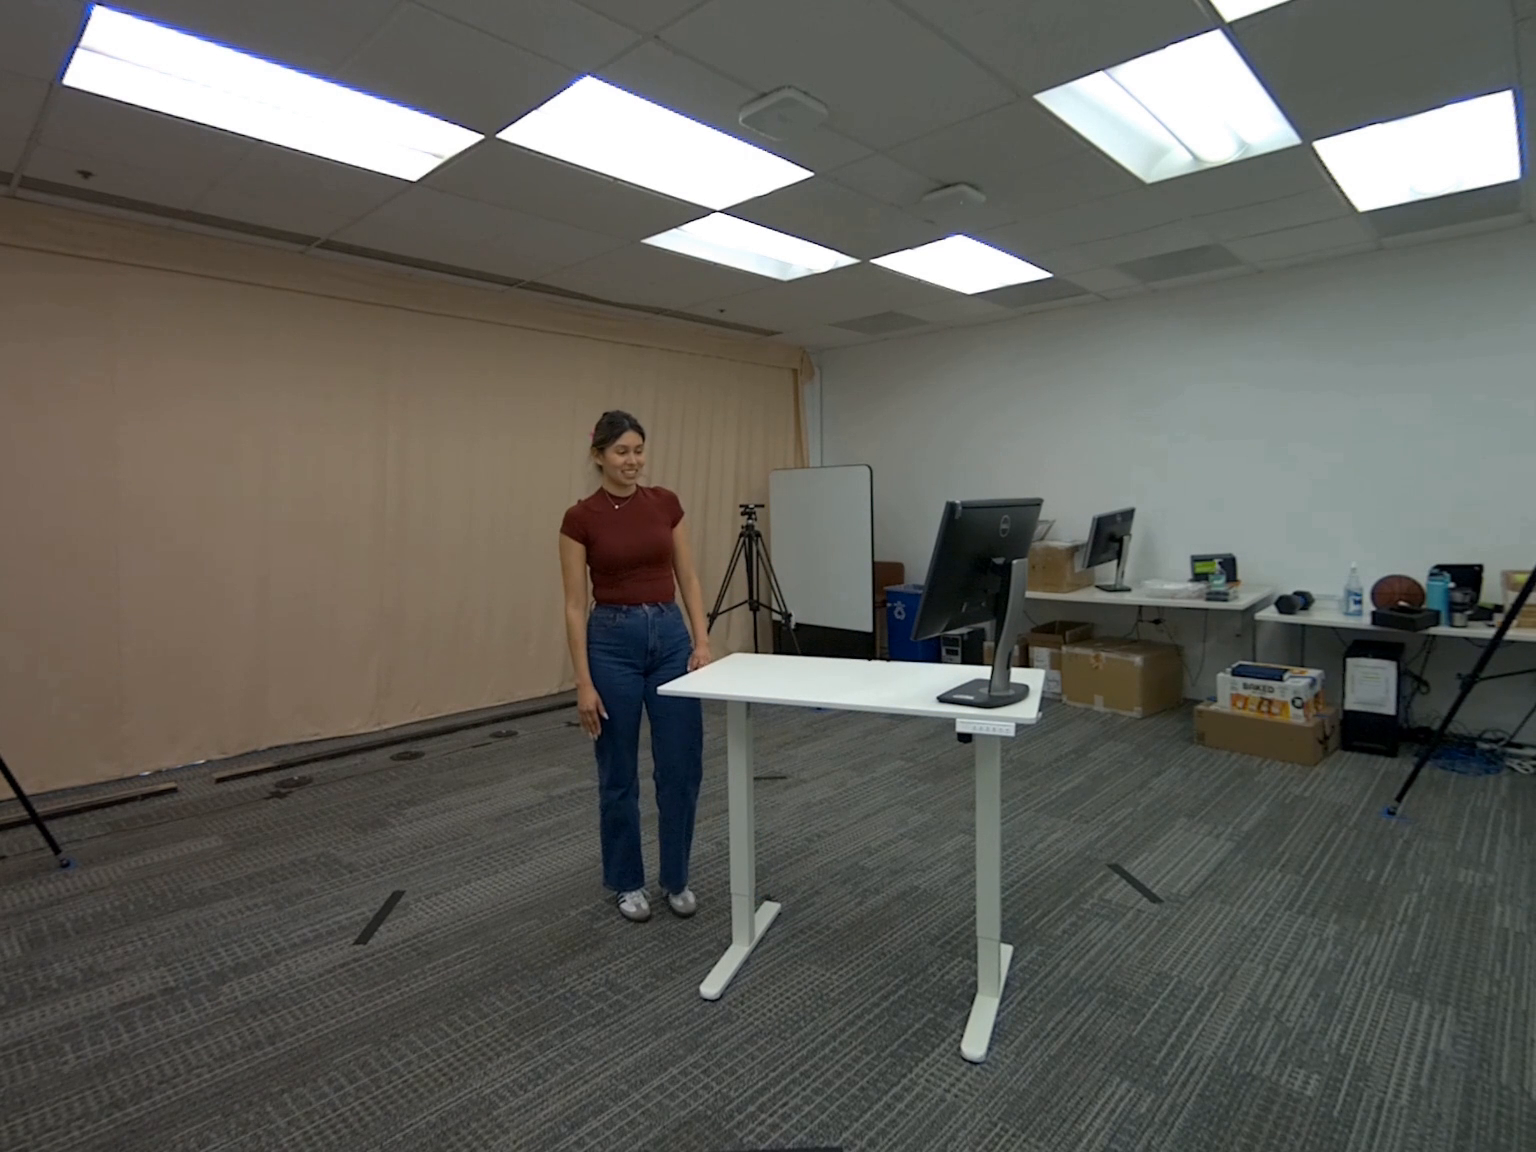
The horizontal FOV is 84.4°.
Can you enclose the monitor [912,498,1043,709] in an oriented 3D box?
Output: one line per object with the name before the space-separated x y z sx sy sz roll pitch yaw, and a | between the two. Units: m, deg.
monitor | 0.591 0.064 2.176 0.193 0.521 0.523 5 7 39
